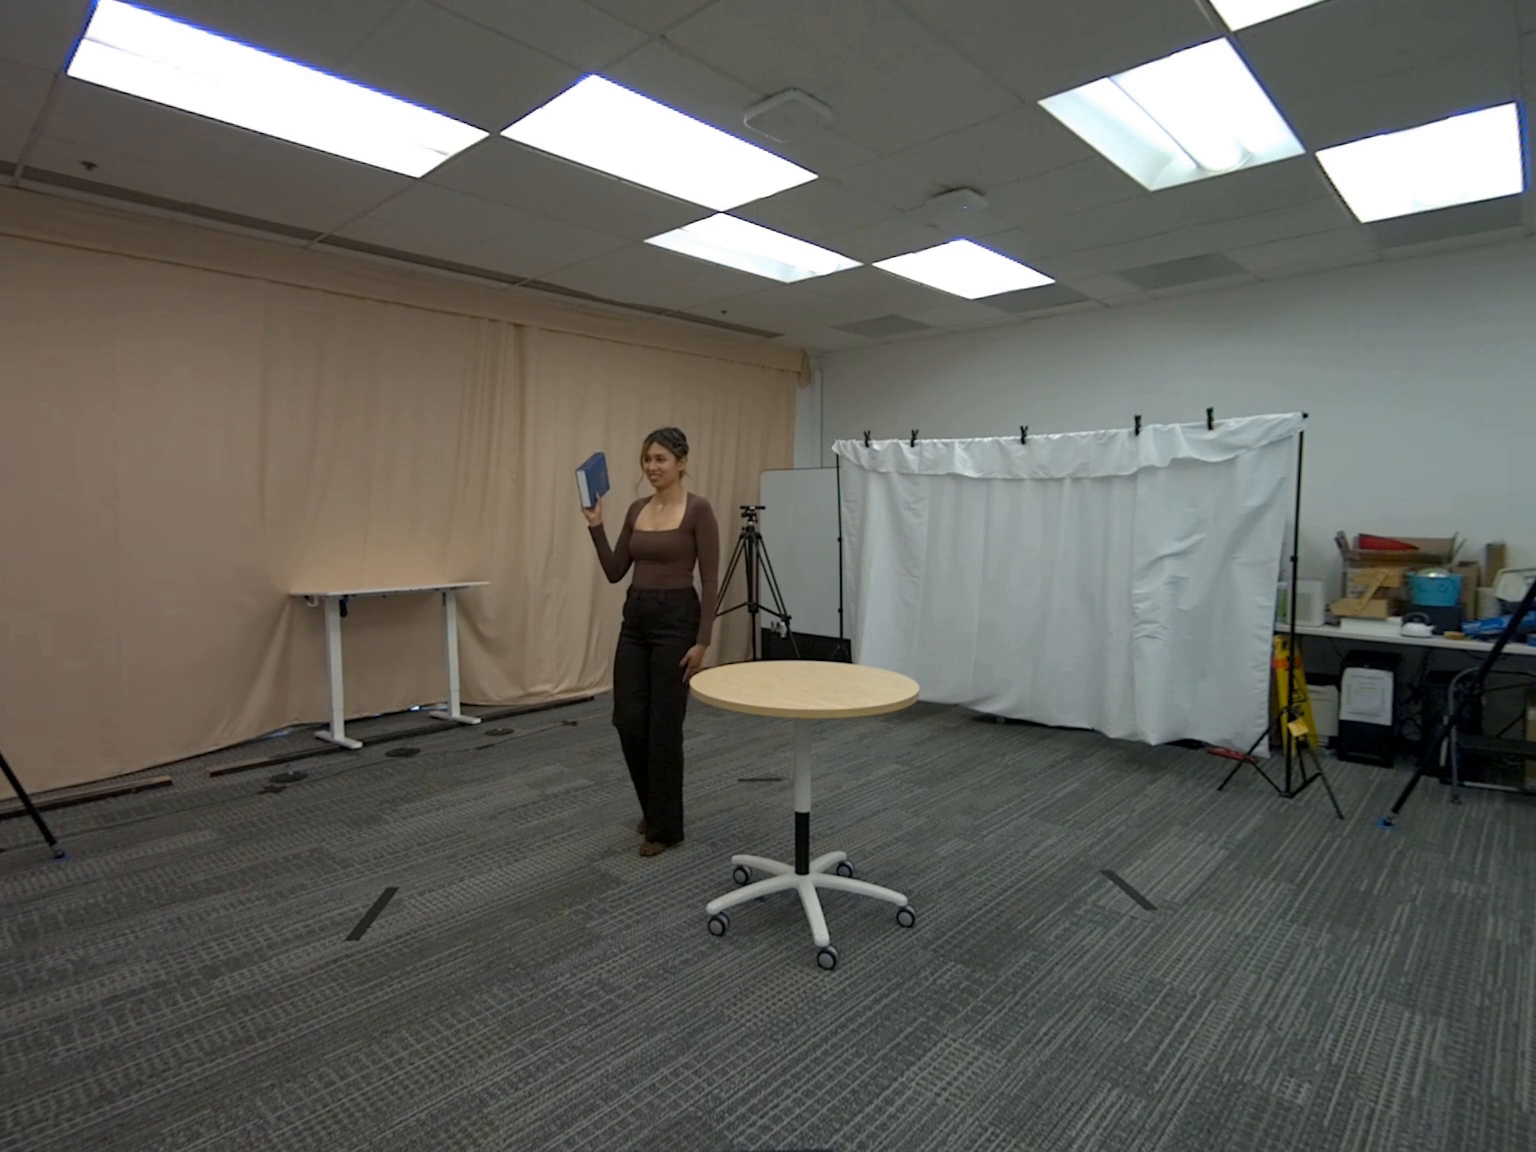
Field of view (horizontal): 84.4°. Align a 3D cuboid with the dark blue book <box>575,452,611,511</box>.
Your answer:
[{"bbox_3d":[-0.721,-0.402,3.483,0.046,0.161,0.246,-2,22,9],"label":"dark blue book"}]
